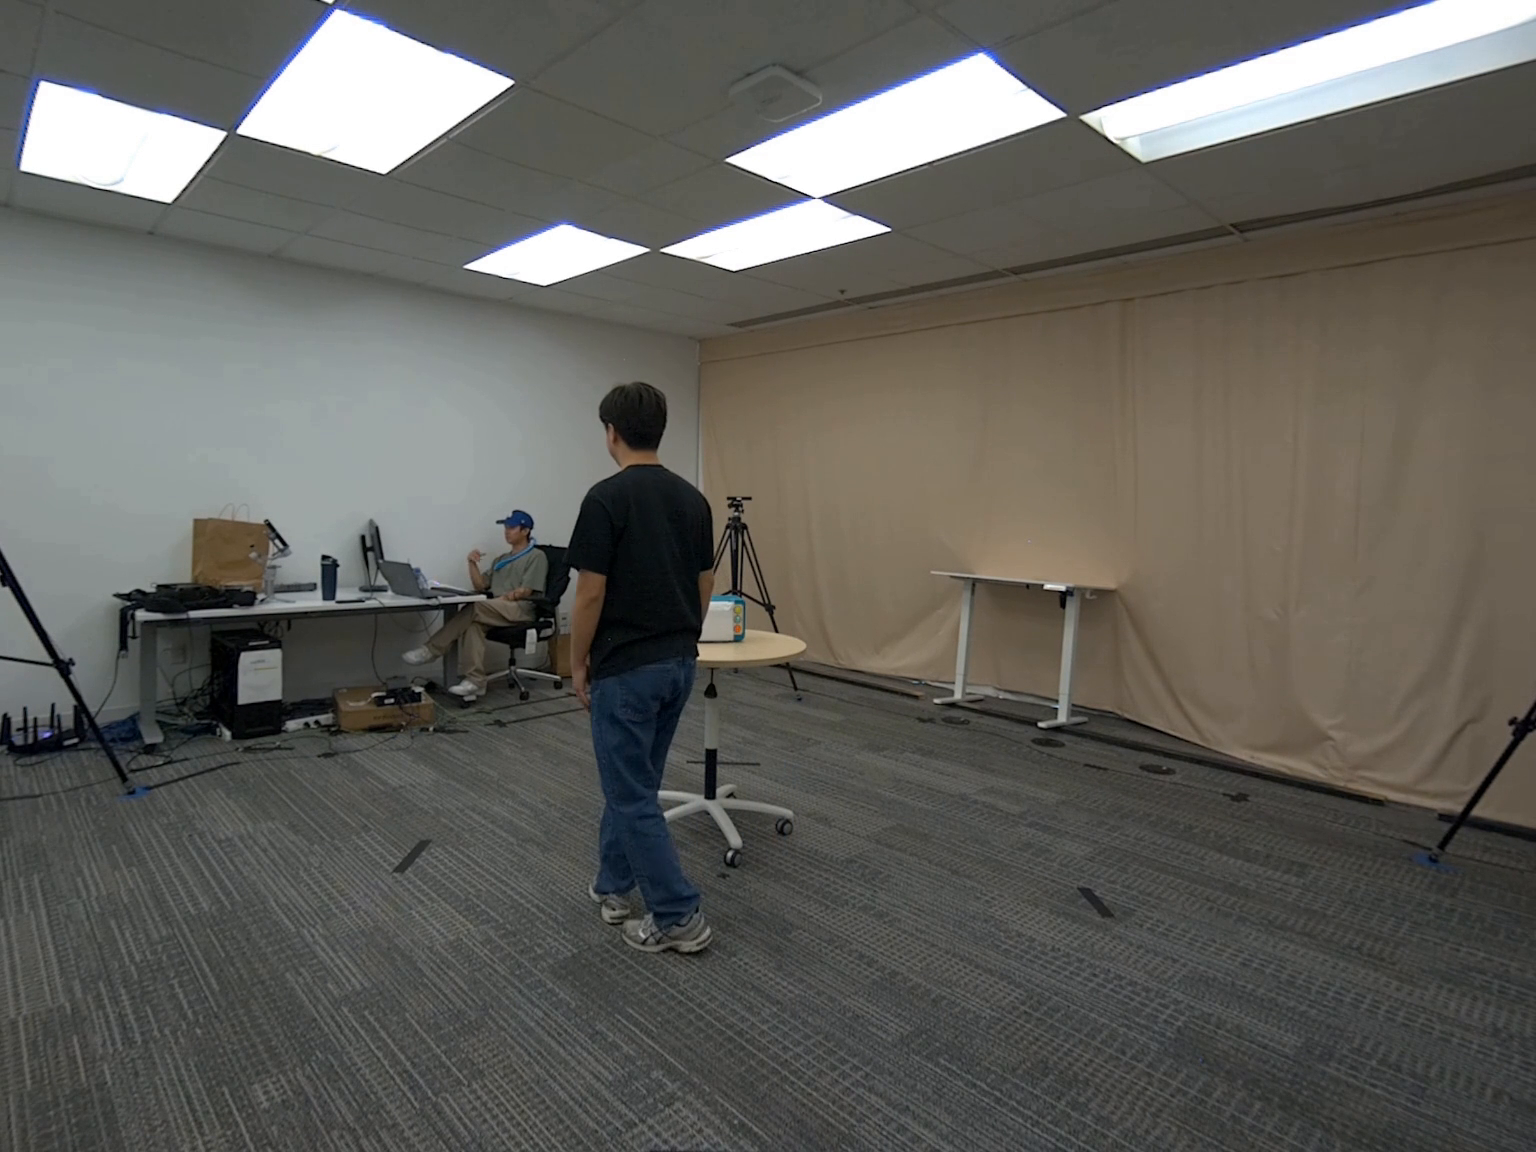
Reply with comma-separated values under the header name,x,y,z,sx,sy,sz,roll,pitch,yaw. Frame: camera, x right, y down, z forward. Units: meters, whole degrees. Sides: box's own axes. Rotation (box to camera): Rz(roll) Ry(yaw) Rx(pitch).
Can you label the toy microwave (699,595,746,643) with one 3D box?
name,x,y,z,sx,sy,sz,roll,pitch,yaw
toy microwave,-0.242,0.181,3.516,0.284,0.183,0.154,0,5,-9
